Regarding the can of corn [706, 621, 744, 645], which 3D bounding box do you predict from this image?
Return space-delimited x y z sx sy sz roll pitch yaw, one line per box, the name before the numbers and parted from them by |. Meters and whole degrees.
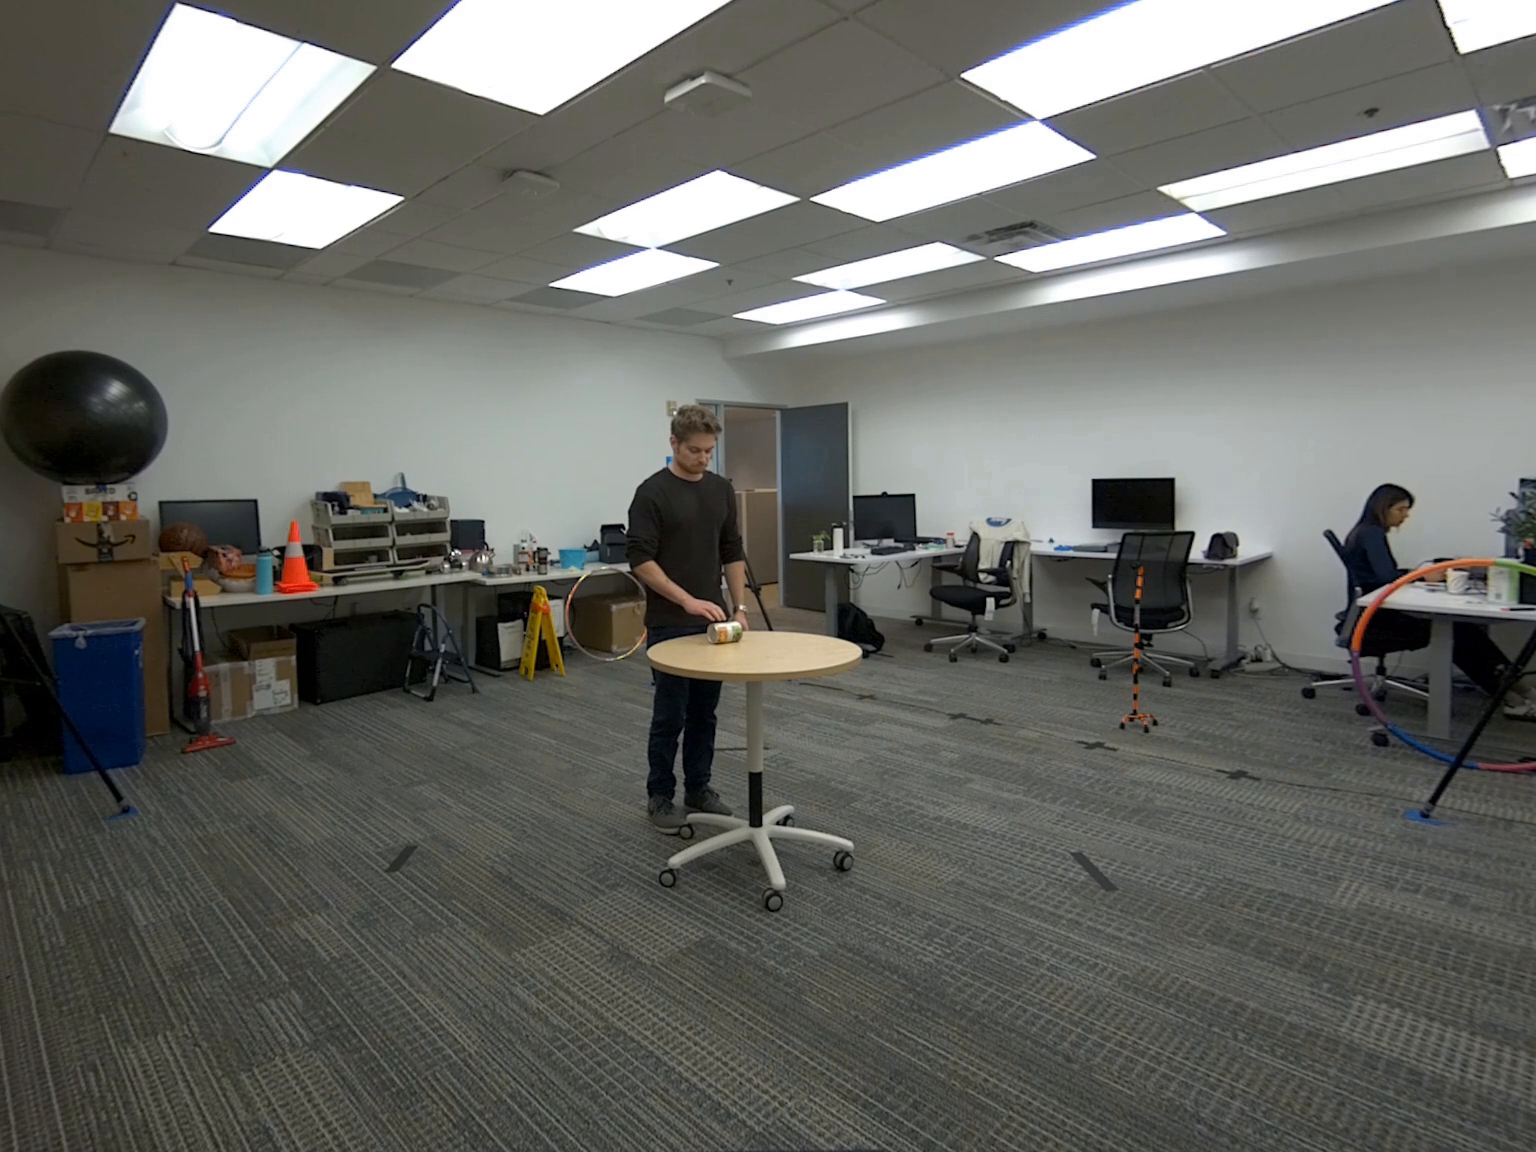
can of corn | -0.159 0.212 3.203 0.108 0.074 0.076 -5 6 -38
